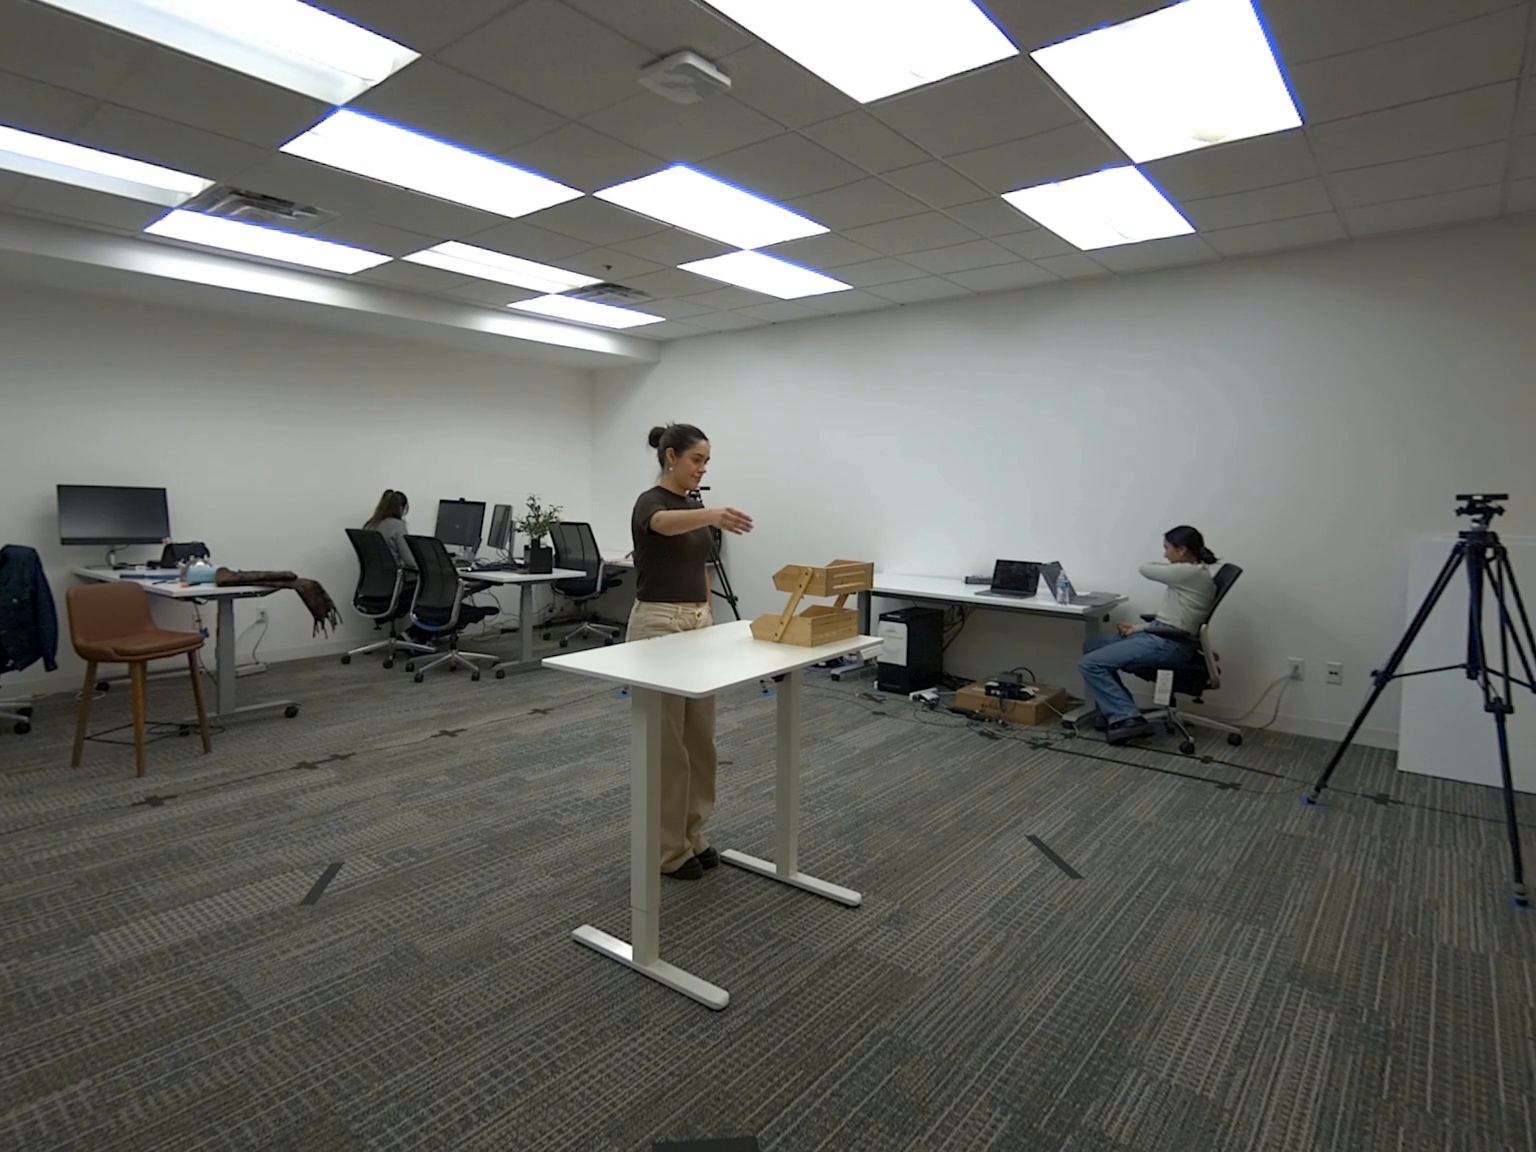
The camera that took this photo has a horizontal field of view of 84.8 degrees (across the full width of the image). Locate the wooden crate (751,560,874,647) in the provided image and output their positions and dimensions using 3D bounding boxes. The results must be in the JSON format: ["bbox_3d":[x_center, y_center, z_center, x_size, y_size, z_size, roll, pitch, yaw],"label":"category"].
[{"bbox_3d":[0.138,0.075,2.882,0.312,0.272,0.315,6,7,37],"label":"wooden crate"}]
